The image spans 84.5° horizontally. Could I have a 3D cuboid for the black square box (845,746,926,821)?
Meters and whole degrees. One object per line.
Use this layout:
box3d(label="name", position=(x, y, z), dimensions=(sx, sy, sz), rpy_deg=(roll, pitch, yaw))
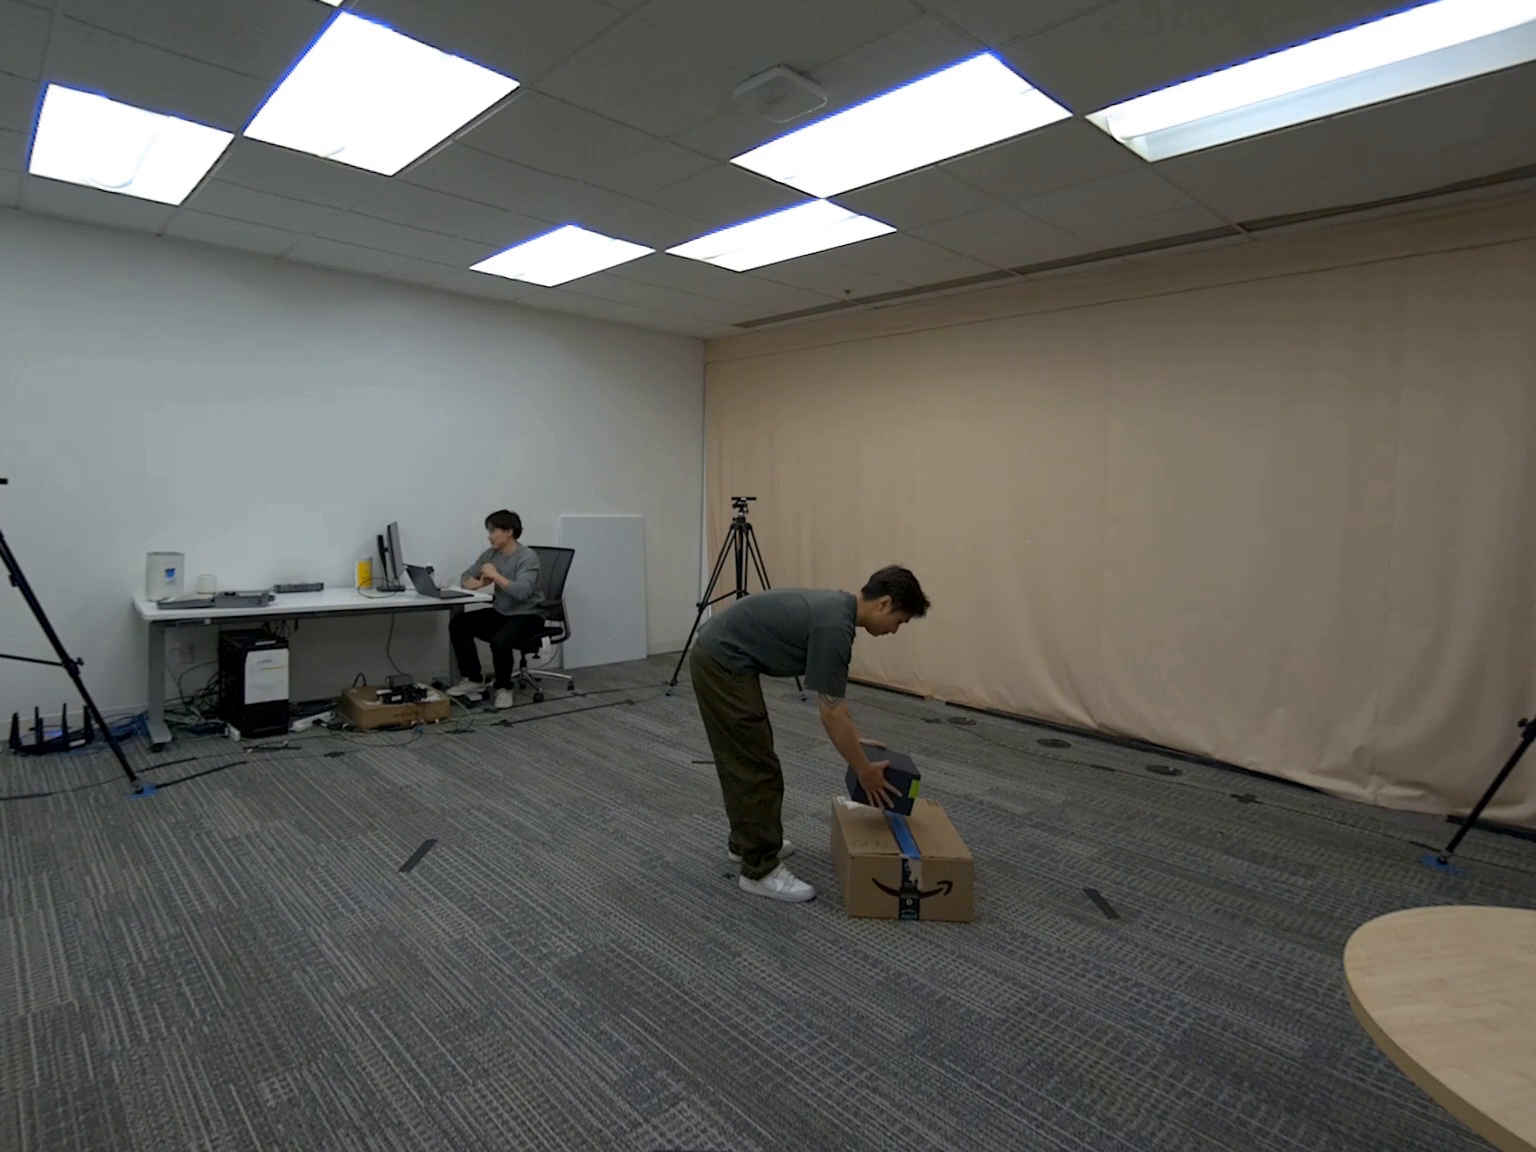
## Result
box3d(label="black square box", position=(0.417, 0.740, 3.062), dimensions=(0.217, 0.156, 0.228), rpy_deg=(14, 3, -2))
